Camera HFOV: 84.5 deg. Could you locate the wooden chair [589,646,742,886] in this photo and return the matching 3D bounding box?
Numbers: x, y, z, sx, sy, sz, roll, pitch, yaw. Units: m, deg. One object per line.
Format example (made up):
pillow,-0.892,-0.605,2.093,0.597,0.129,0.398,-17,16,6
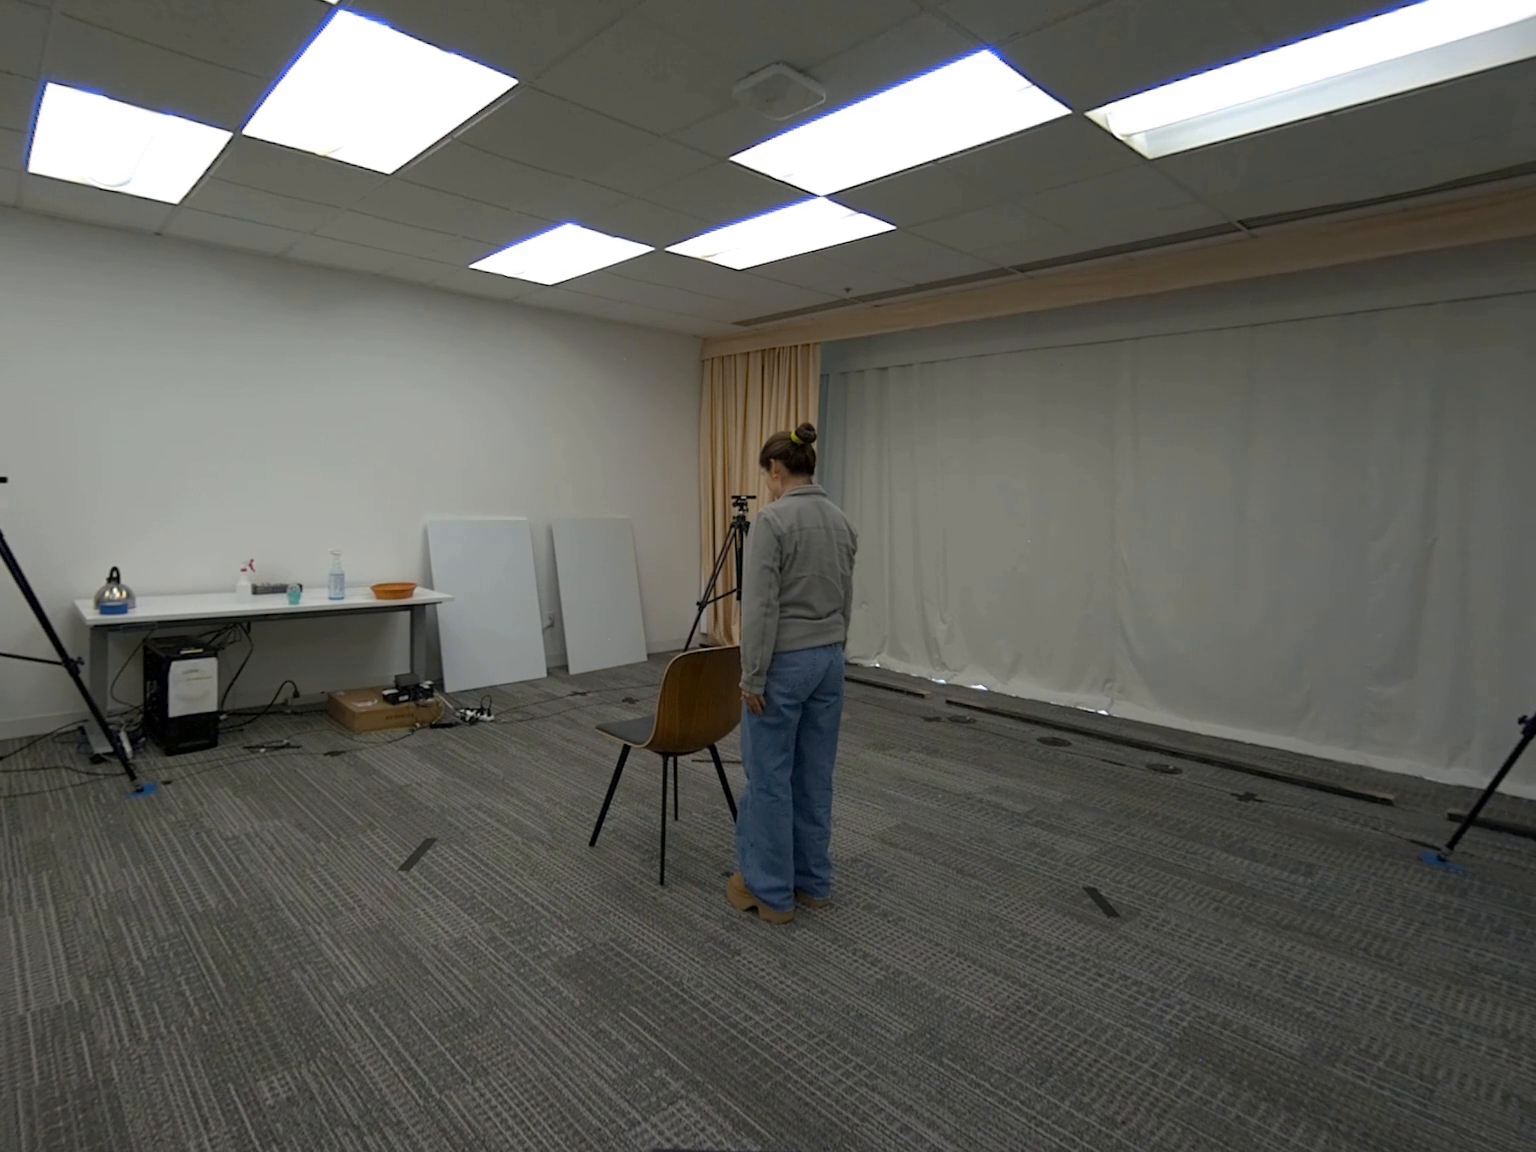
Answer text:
wooden chair,-0.386,0.651,3.290,0.467,0.873,0.537,-2,10,-45
